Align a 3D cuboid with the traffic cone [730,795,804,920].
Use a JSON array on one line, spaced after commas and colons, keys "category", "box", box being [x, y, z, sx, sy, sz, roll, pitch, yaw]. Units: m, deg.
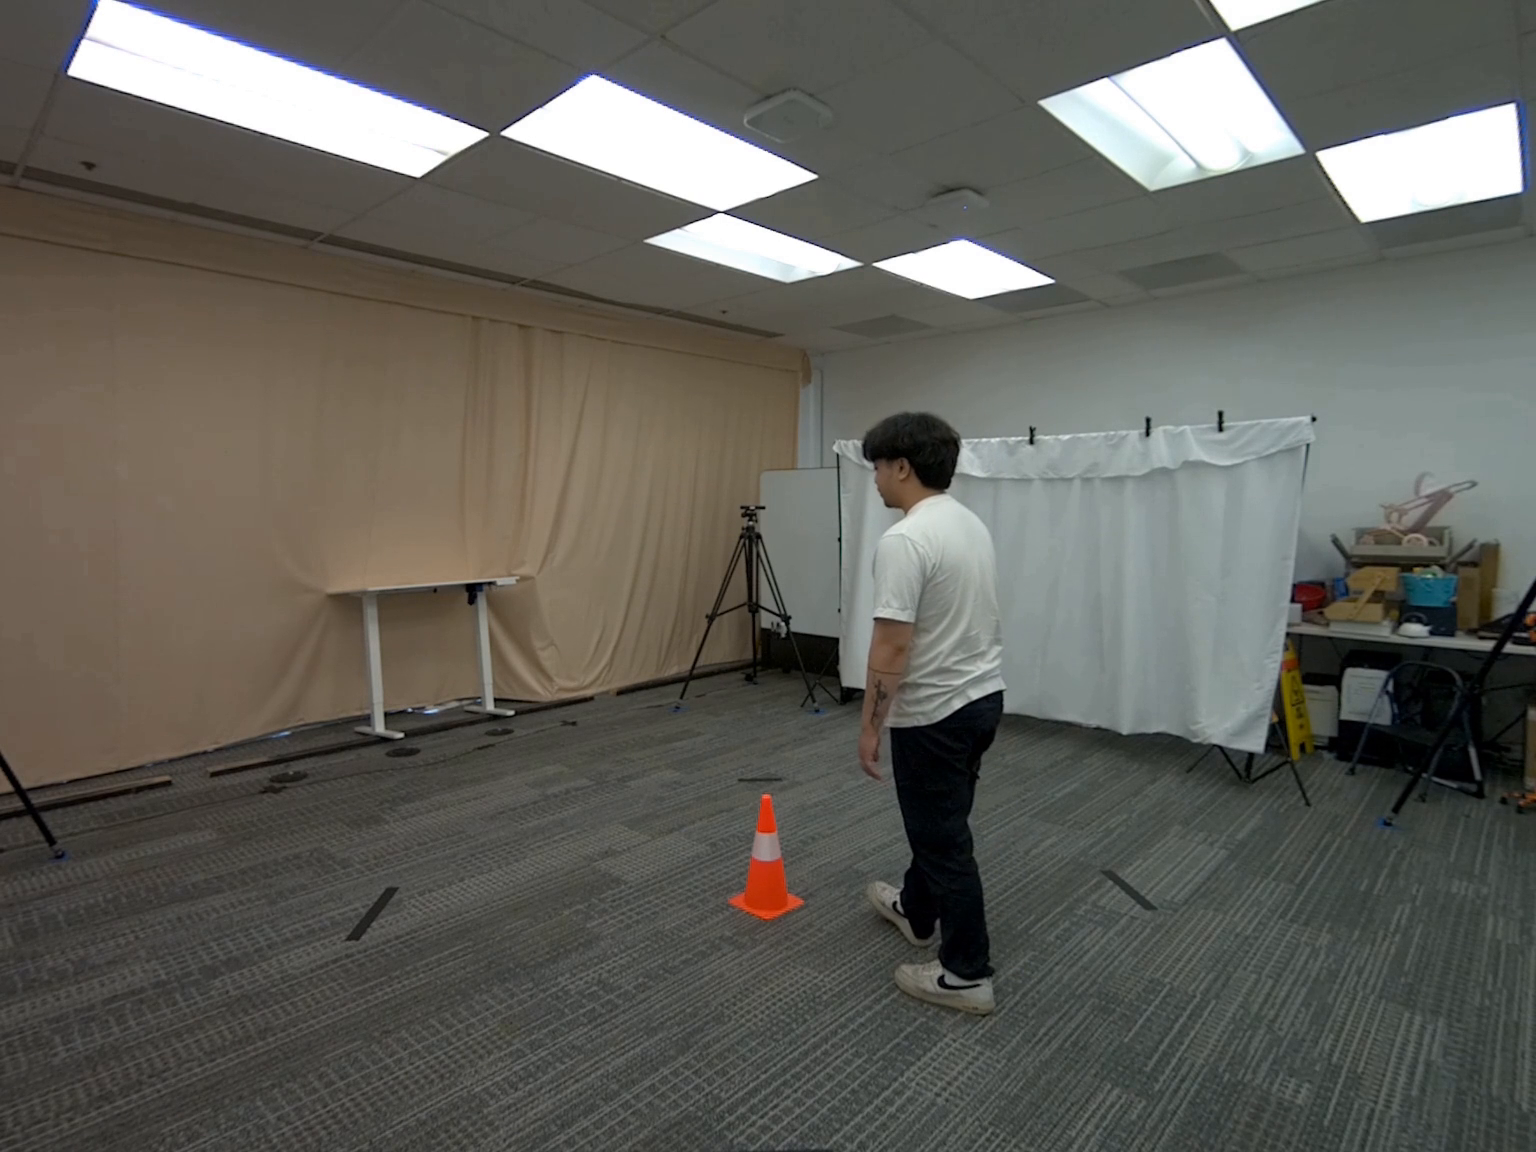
[{"category": "traffic cone", "box": [-0.005, 0.965, 2.949, 0.210, 0.383, 0.199, 3, 6, 39]}]
